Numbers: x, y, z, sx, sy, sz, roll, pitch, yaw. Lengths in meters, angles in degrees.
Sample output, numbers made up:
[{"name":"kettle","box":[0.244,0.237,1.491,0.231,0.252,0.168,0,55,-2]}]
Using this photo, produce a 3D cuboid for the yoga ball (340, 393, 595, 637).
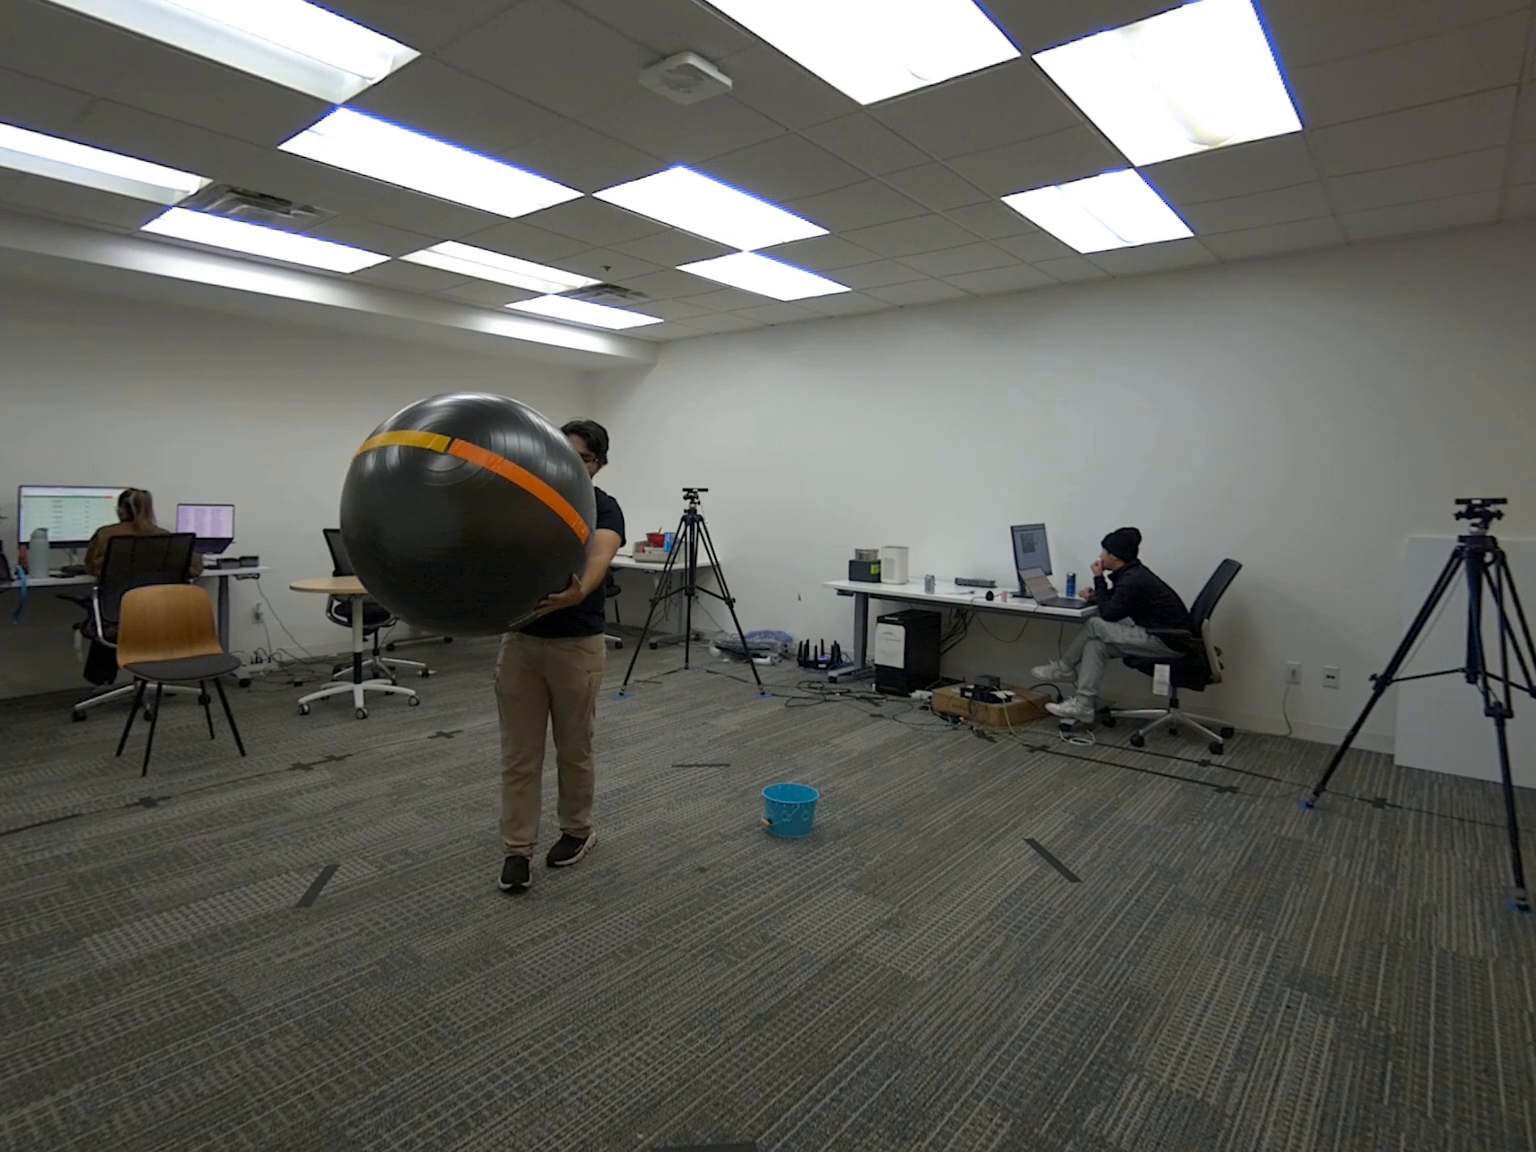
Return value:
[{"name":"yoga ball","box":[-0.932,-0.183,2.620,0.757,0.755,0.762,1,4,-2]}]
